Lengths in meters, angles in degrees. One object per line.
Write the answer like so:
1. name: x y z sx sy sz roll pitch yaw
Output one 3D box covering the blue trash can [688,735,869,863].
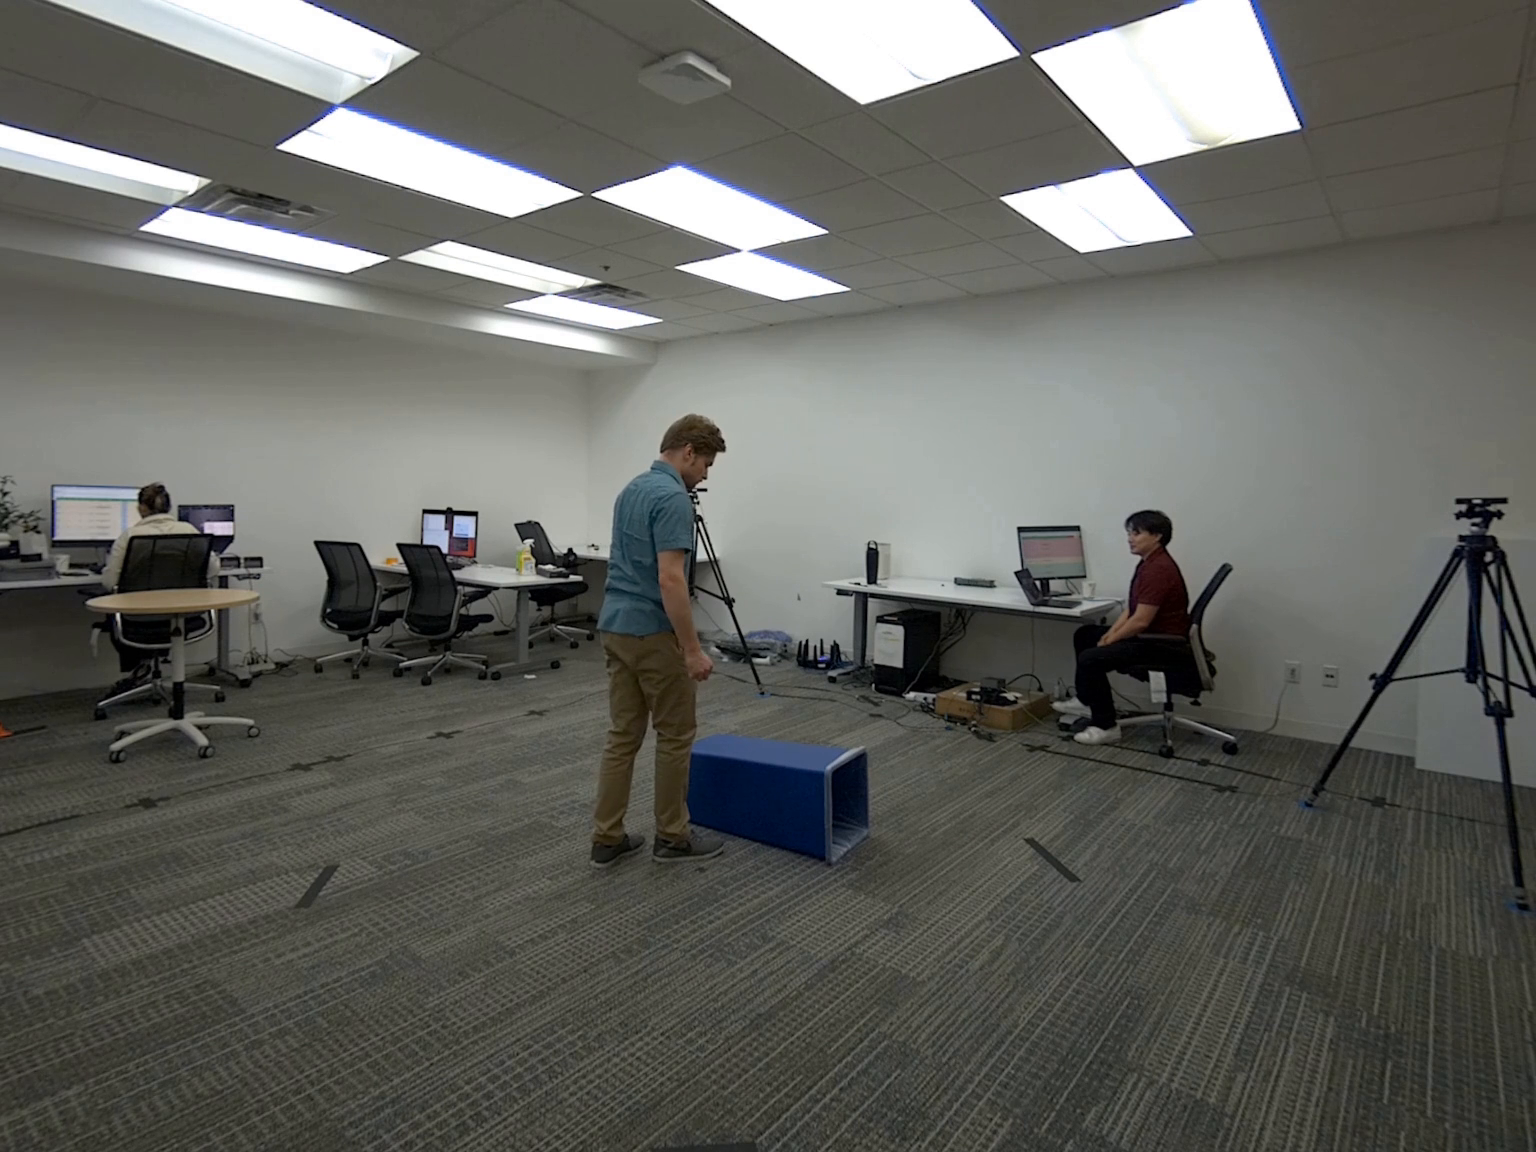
1. blue trash can: 0.003 0.873 3.484 0.734 0.377 0.364 1 4 31
